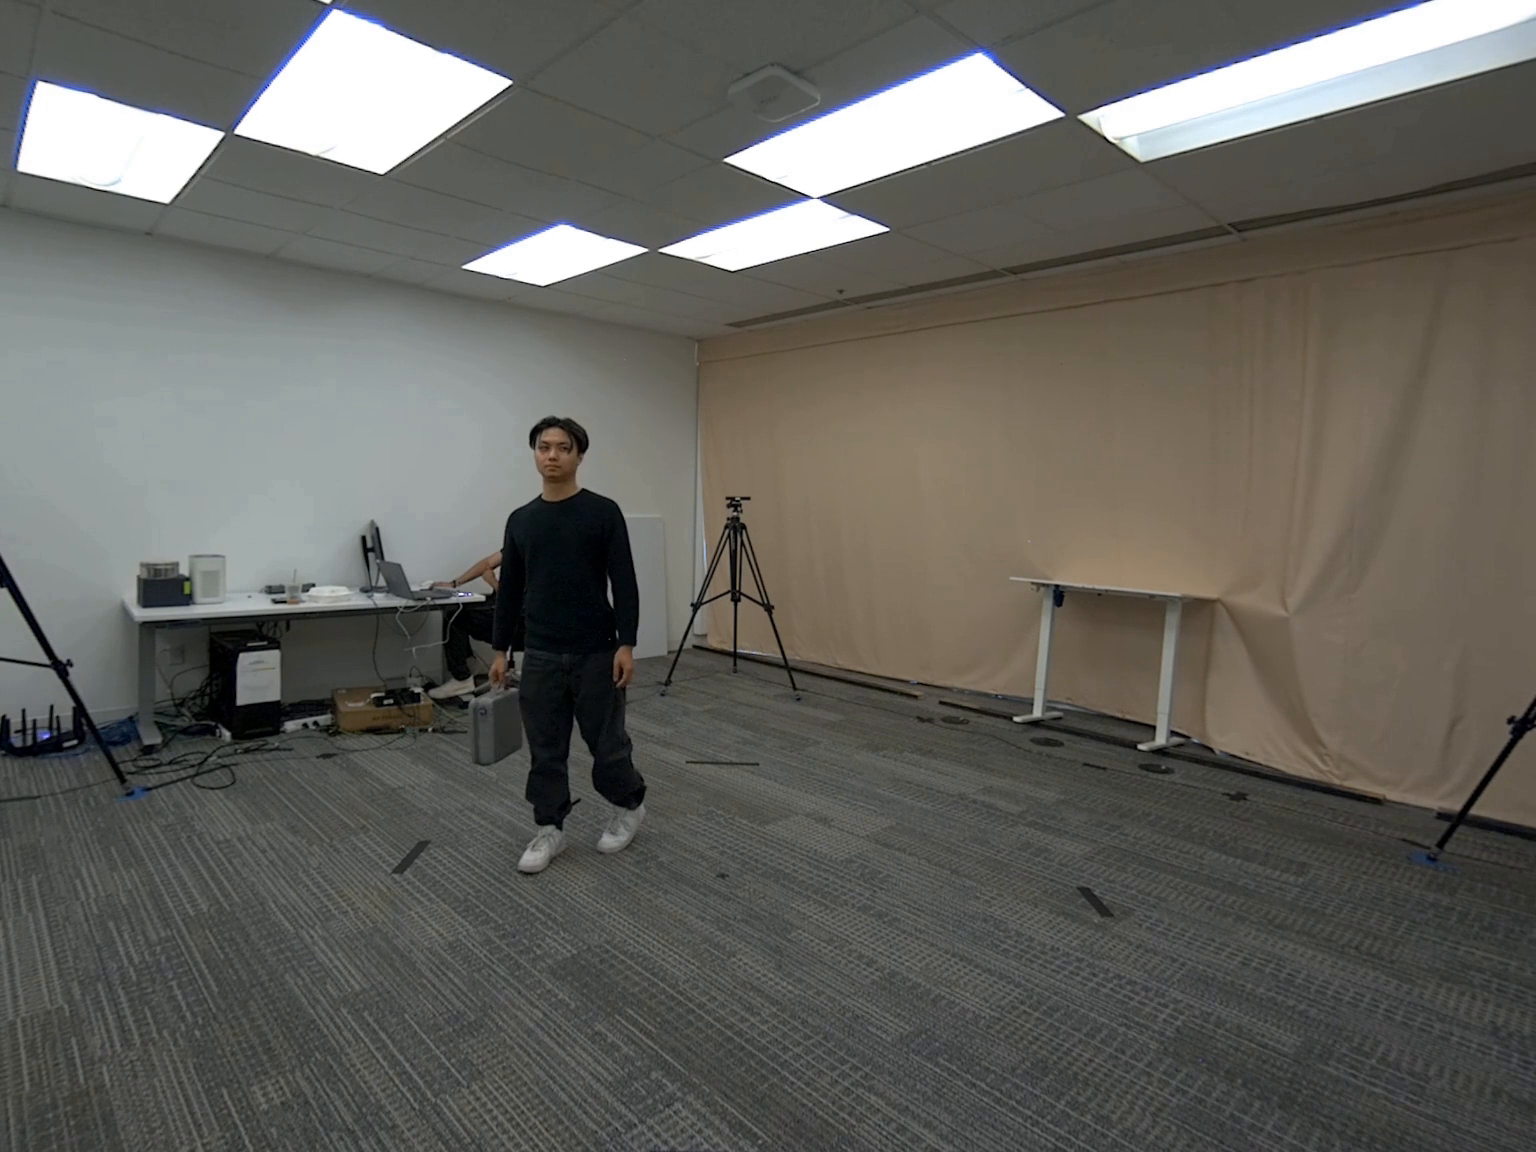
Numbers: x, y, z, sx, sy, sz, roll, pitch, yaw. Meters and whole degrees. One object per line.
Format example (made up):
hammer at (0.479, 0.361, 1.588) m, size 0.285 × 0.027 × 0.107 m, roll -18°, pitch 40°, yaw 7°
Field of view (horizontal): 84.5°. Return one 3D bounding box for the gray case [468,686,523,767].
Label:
gray case at (-1.034, 0.567, 3.246) m, size 0.105 × 0.260 × 0.255 m, roll 0°, pitch 4°, yaw 12°
